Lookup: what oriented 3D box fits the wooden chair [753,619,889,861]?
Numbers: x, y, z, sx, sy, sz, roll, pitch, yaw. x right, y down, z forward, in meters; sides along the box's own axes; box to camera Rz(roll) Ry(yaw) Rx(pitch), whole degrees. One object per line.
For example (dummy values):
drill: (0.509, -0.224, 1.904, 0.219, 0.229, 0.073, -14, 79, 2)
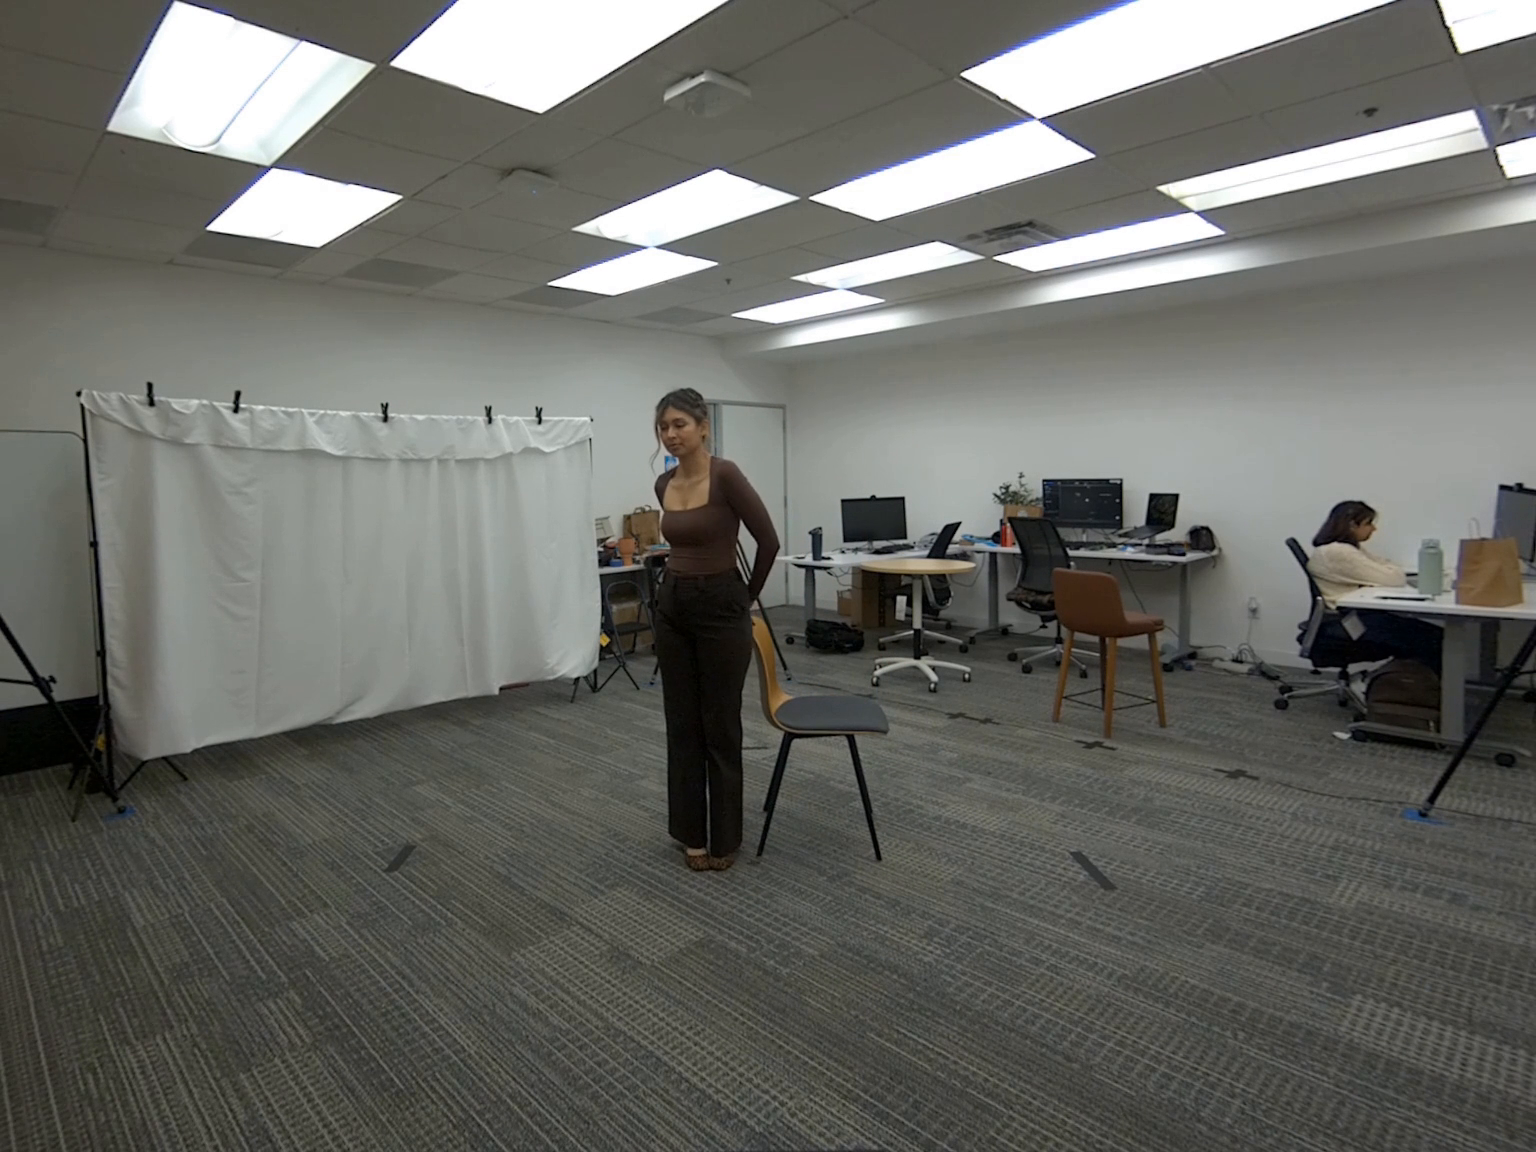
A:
wooden chair: (0.201, 0.585, 3.320, 0.526, 0.875, 0.477, -4, 3, 6)
